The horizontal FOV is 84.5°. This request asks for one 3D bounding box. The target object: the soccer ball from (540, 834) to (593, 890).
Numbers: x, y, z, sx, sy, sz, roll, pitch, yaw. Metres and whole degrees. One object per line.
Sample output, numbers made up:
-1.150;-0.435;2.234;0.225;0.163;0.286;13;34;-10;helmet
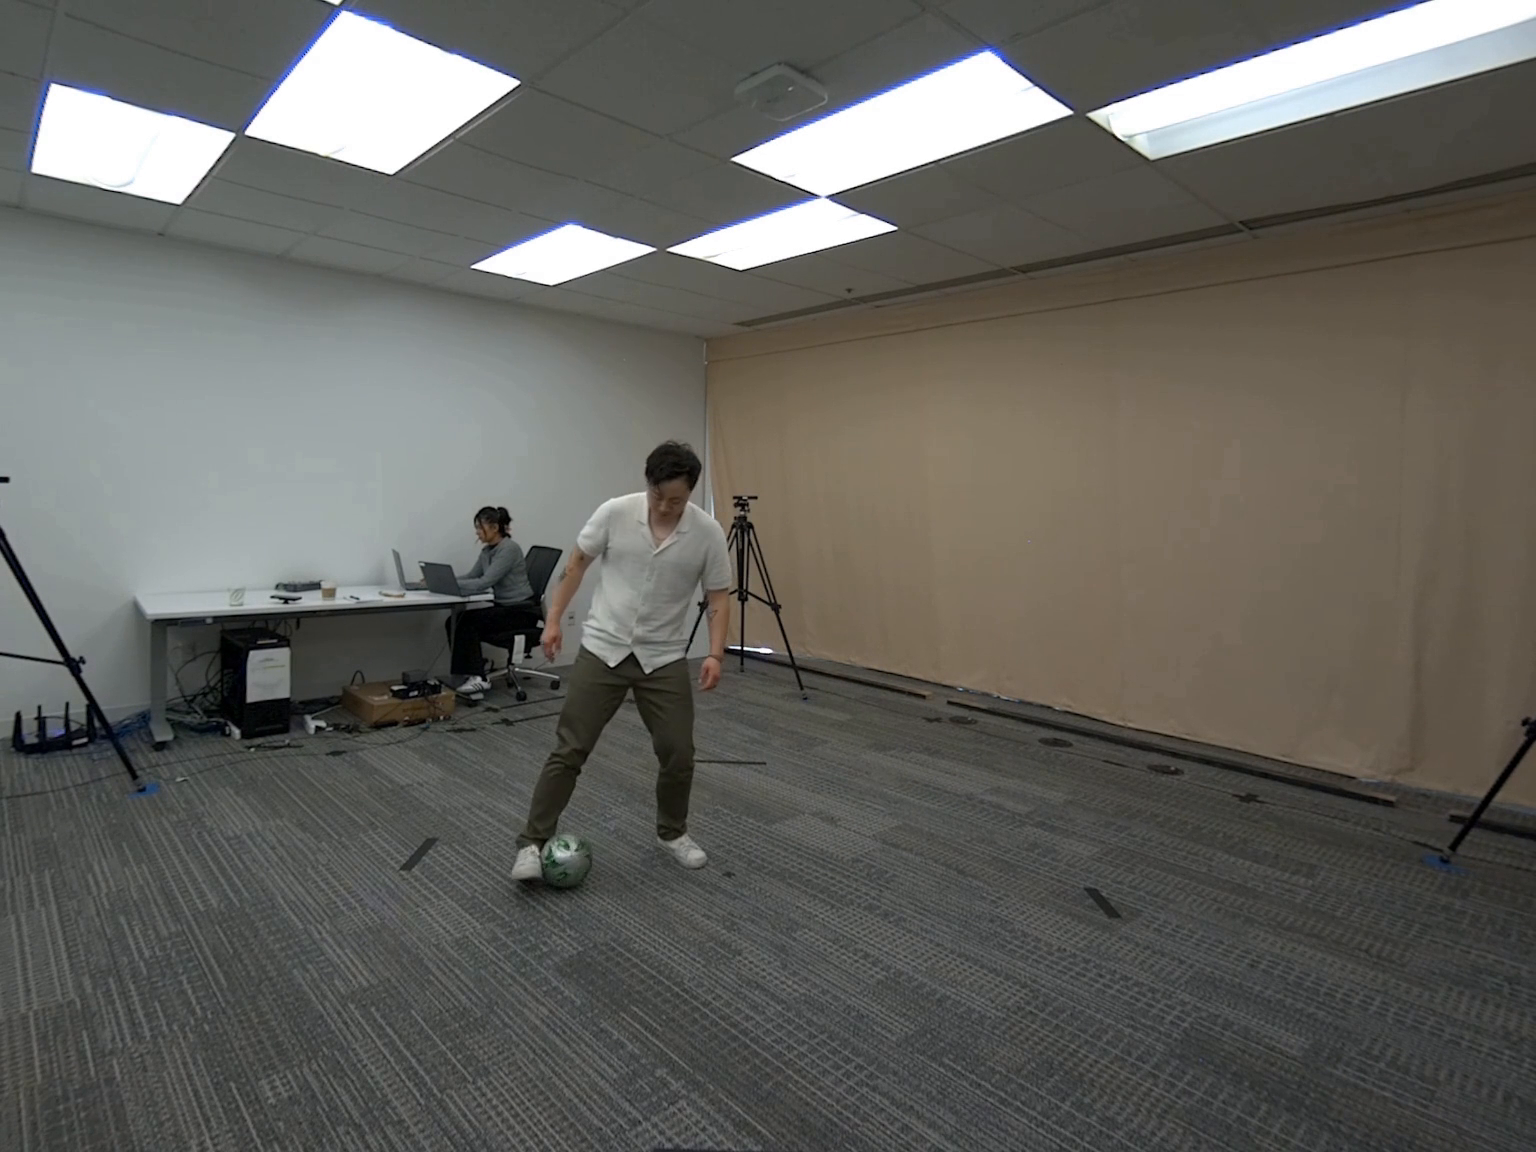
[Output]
-0.701;1.008;2.980;0.187;0.187;0.188;1;4;-1;soccer ball
